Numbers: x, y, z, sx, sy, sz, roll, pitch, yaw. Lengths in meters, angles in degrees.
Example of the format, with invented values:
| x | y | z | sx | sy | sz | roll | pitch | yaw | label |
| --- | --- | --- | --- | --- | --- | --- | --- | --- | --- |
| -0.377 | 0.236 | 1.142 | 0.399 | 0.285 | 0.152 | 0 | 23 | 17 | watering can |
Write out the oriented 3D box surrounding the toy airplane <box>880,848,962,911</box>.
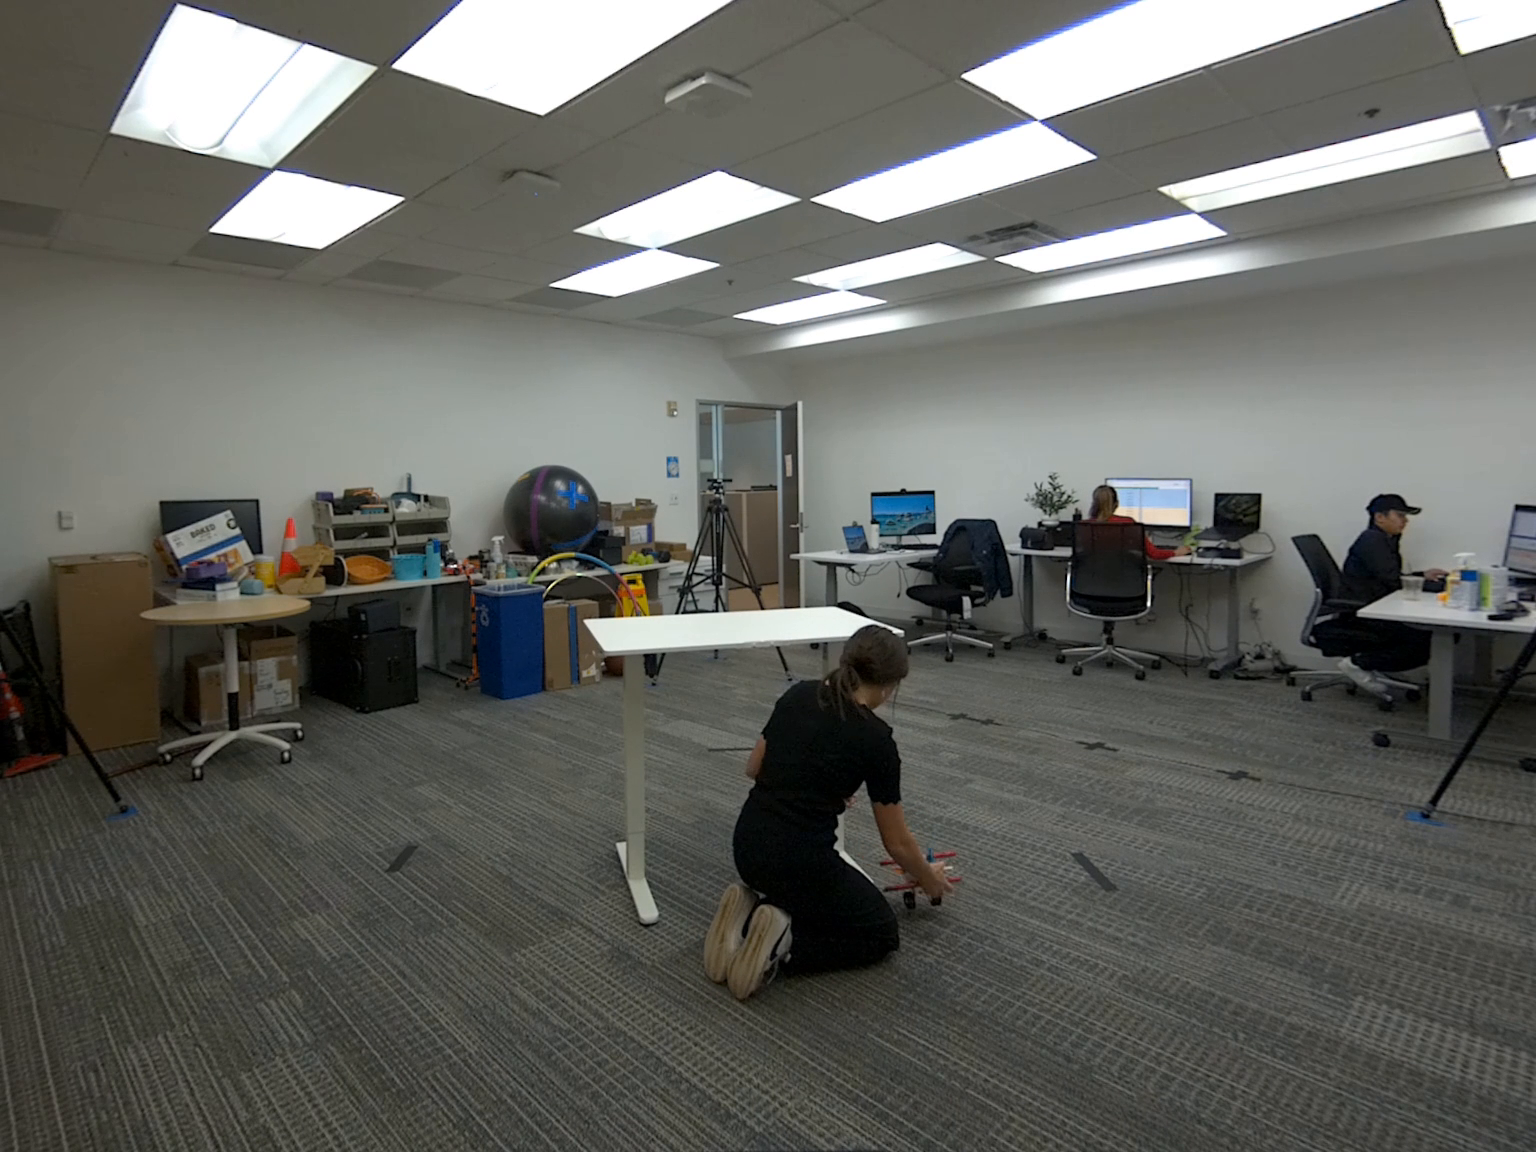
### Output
| x | y | z | sx | sy | sz | roll | pitch | yaw | label |
| --- | --- | --- | --- | --- | --- | --- | --- | --- | --- |
| 0.508 | 0.931 | 2.705 | 0.244 | 0.161 | 0.259 | 13 | -43 | -30 | toy airplane |
